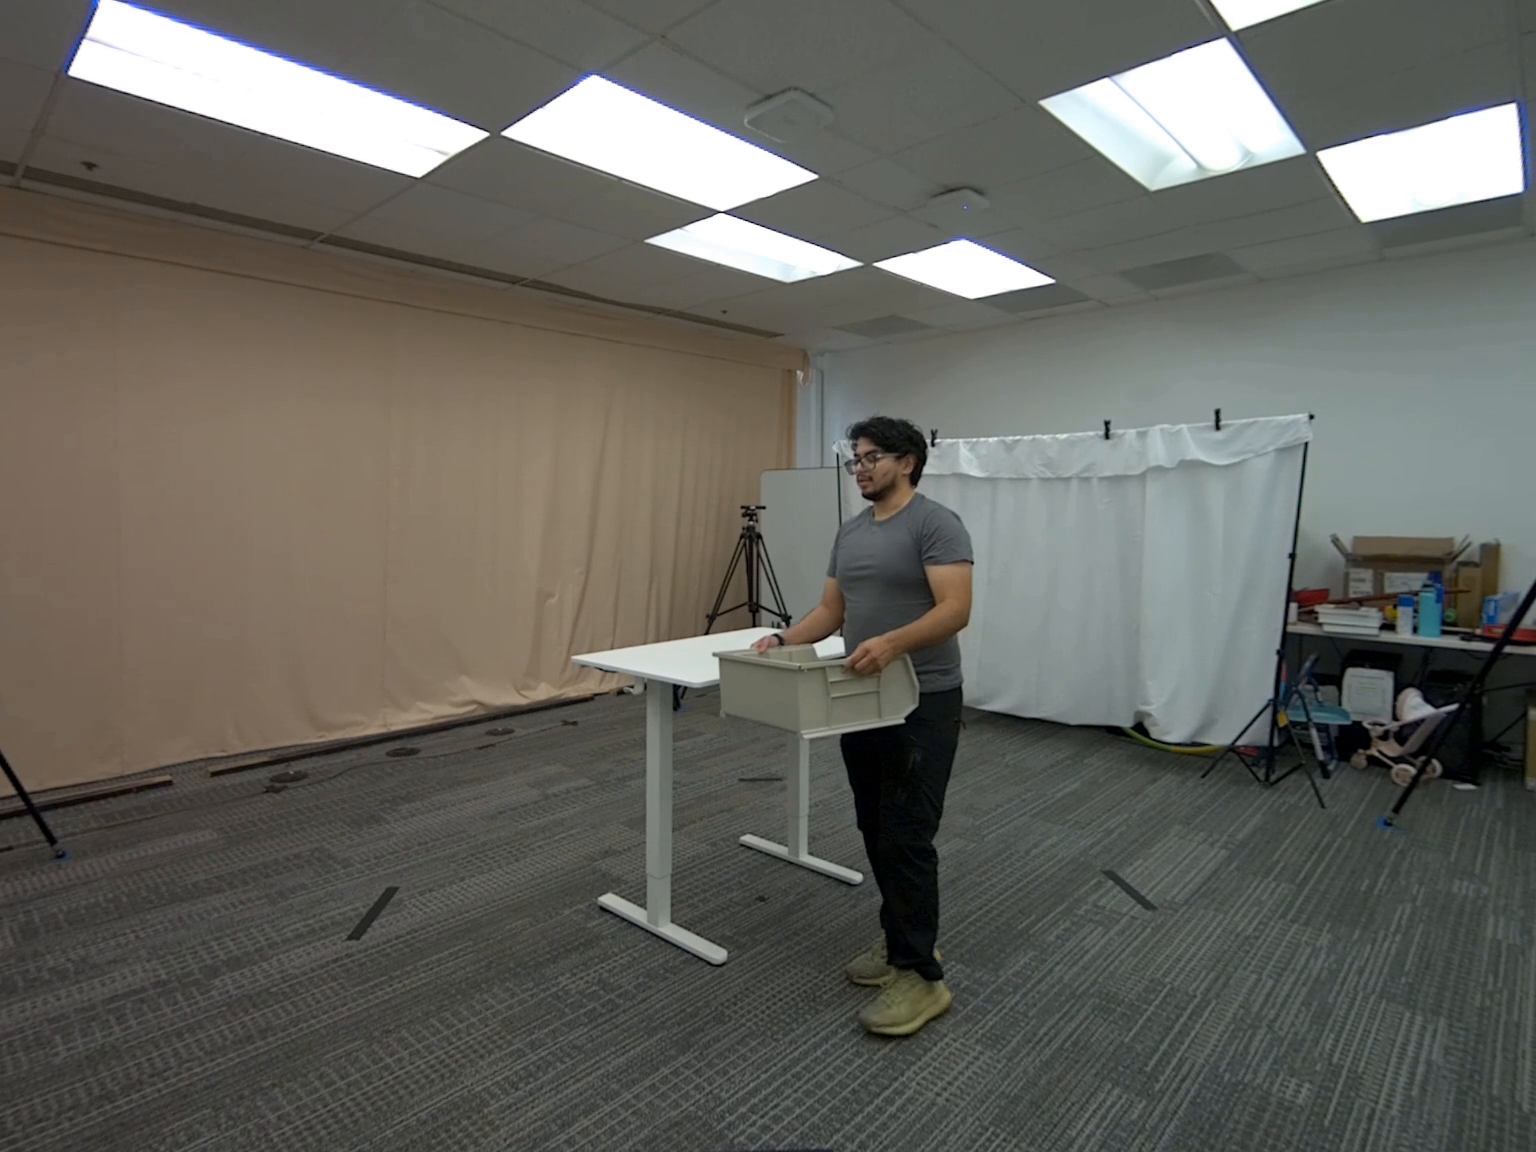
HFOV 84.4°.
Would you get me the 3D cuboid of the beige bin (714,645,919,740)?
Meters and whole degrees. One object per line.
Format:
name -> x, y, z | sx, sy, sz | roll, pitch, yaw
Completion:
beige bin -> 0.121, 0.293, 2.239 | 0.367, 0.189, 0.434 | -3, 2, -32
